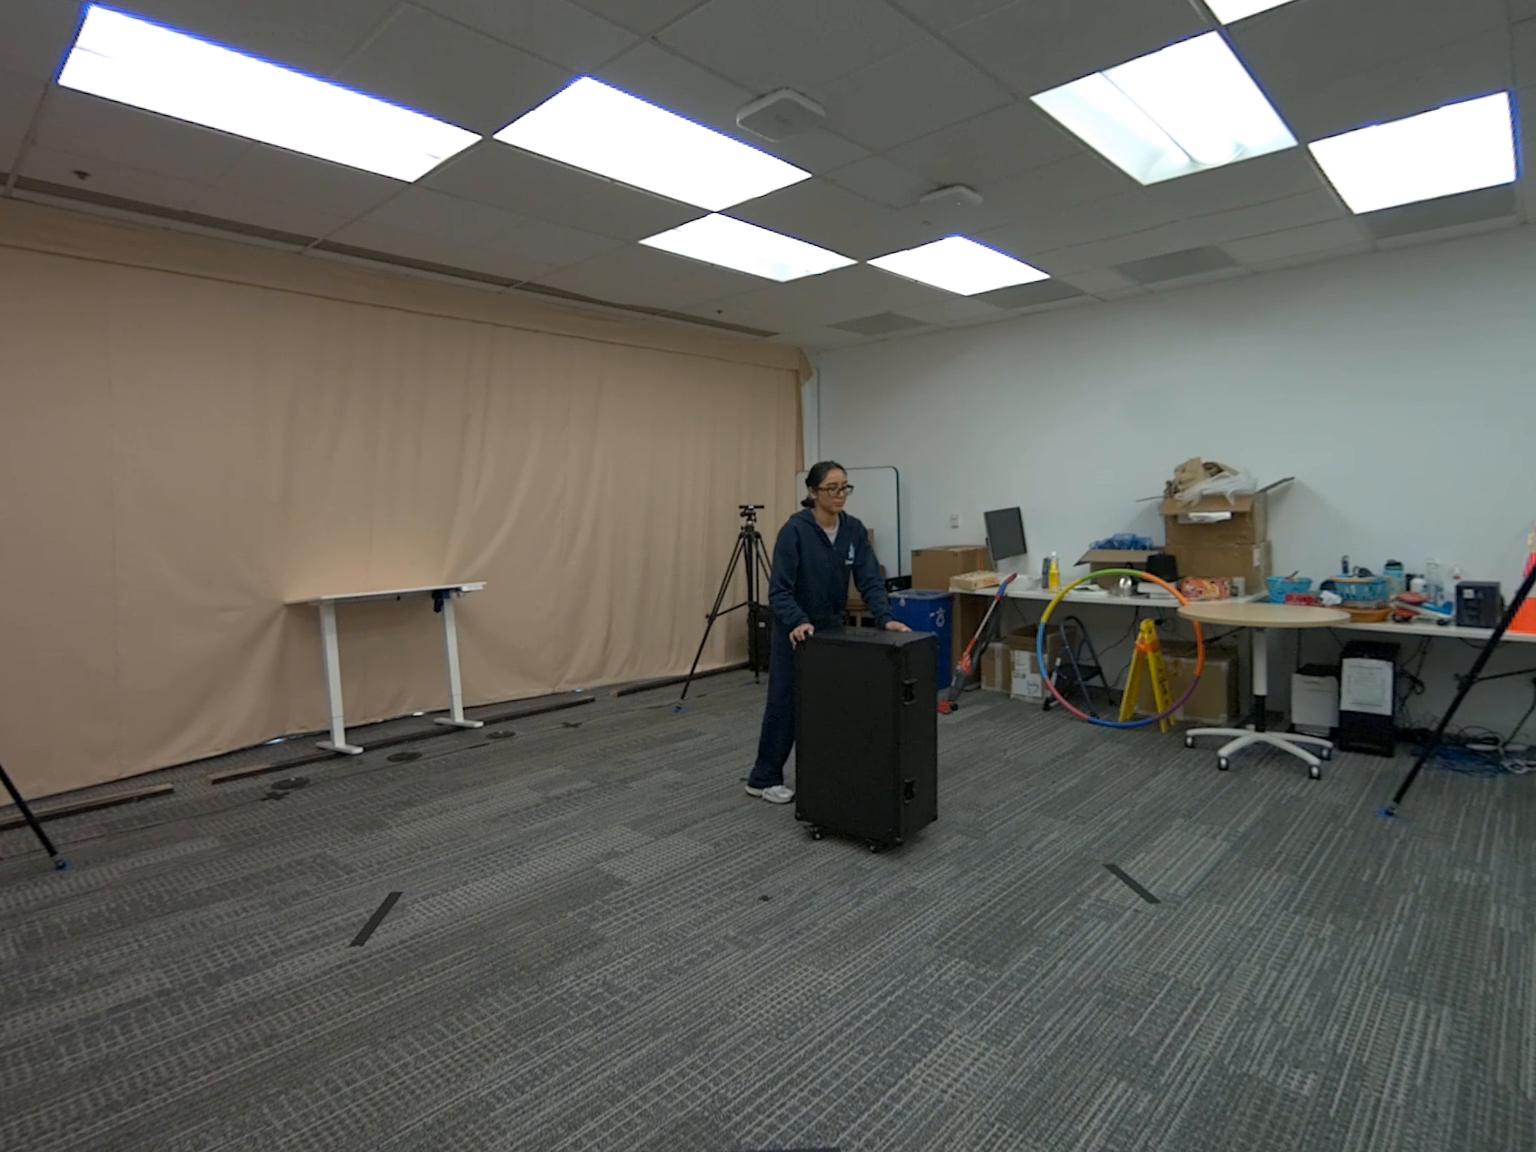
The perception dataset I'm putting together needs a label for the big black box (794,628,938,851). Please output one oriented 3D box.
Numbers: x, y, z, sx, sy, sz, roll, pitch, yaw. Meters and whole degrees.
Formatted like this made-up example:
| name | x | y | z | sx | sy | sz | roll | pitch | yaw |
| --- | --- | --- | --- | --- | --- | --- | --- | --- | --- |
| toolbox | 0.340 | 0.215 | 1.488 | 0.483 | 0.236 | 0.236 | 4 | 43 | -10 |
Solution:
| name | x | y | z | sx | sy | sz | roll | pitch | yaw |
| --- | --- | --- | --- | --- | --- | --- | --- | --- | --- |
| big black box | 0.411 | 0.670 | 3.517 | 0.538 | 0.860 | 0.384 | 1 | 3 | 36 |
